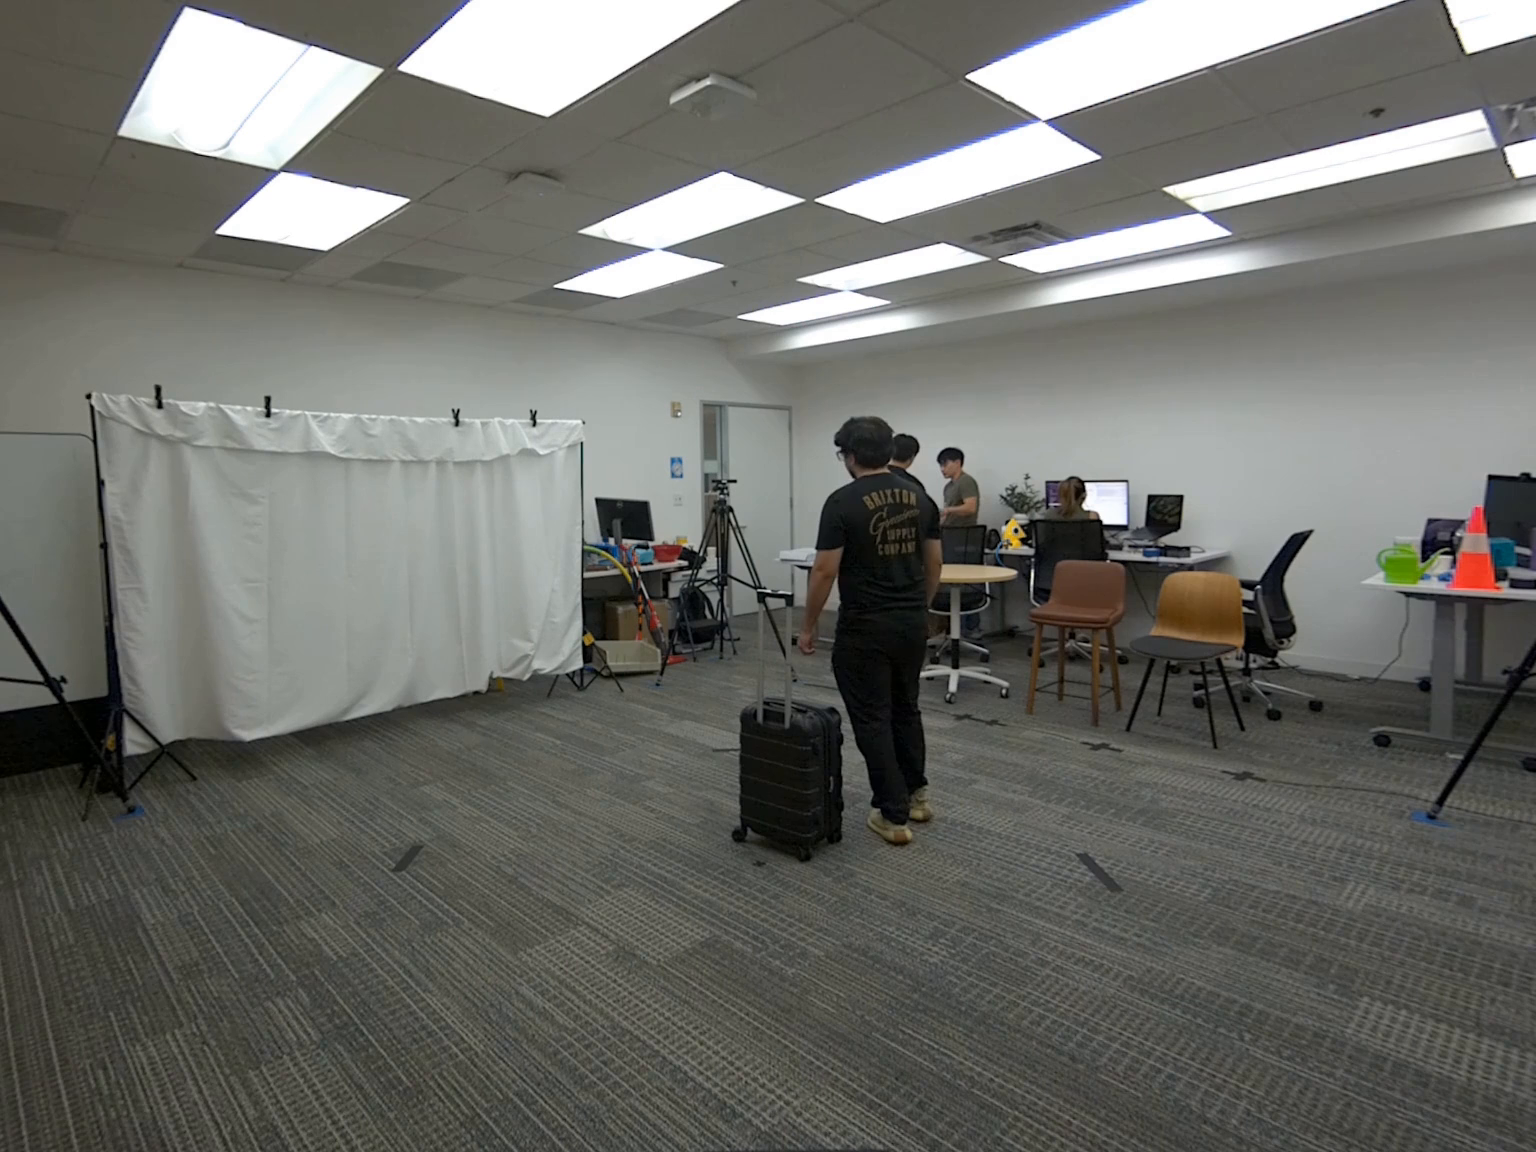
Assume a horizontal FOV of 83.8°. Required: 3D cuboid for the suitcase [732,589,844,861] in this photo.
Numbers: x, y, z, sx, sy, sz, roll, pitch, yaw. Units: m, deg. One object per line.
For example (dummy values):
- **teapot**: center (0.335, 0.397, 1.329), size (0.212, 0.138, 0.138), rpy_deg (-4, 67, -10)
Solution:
- **suitcase**: center (0.085, 0.548, 3.264), size (0.395, 0.976, 0.250), rpy_deg (4, 4, 37)
